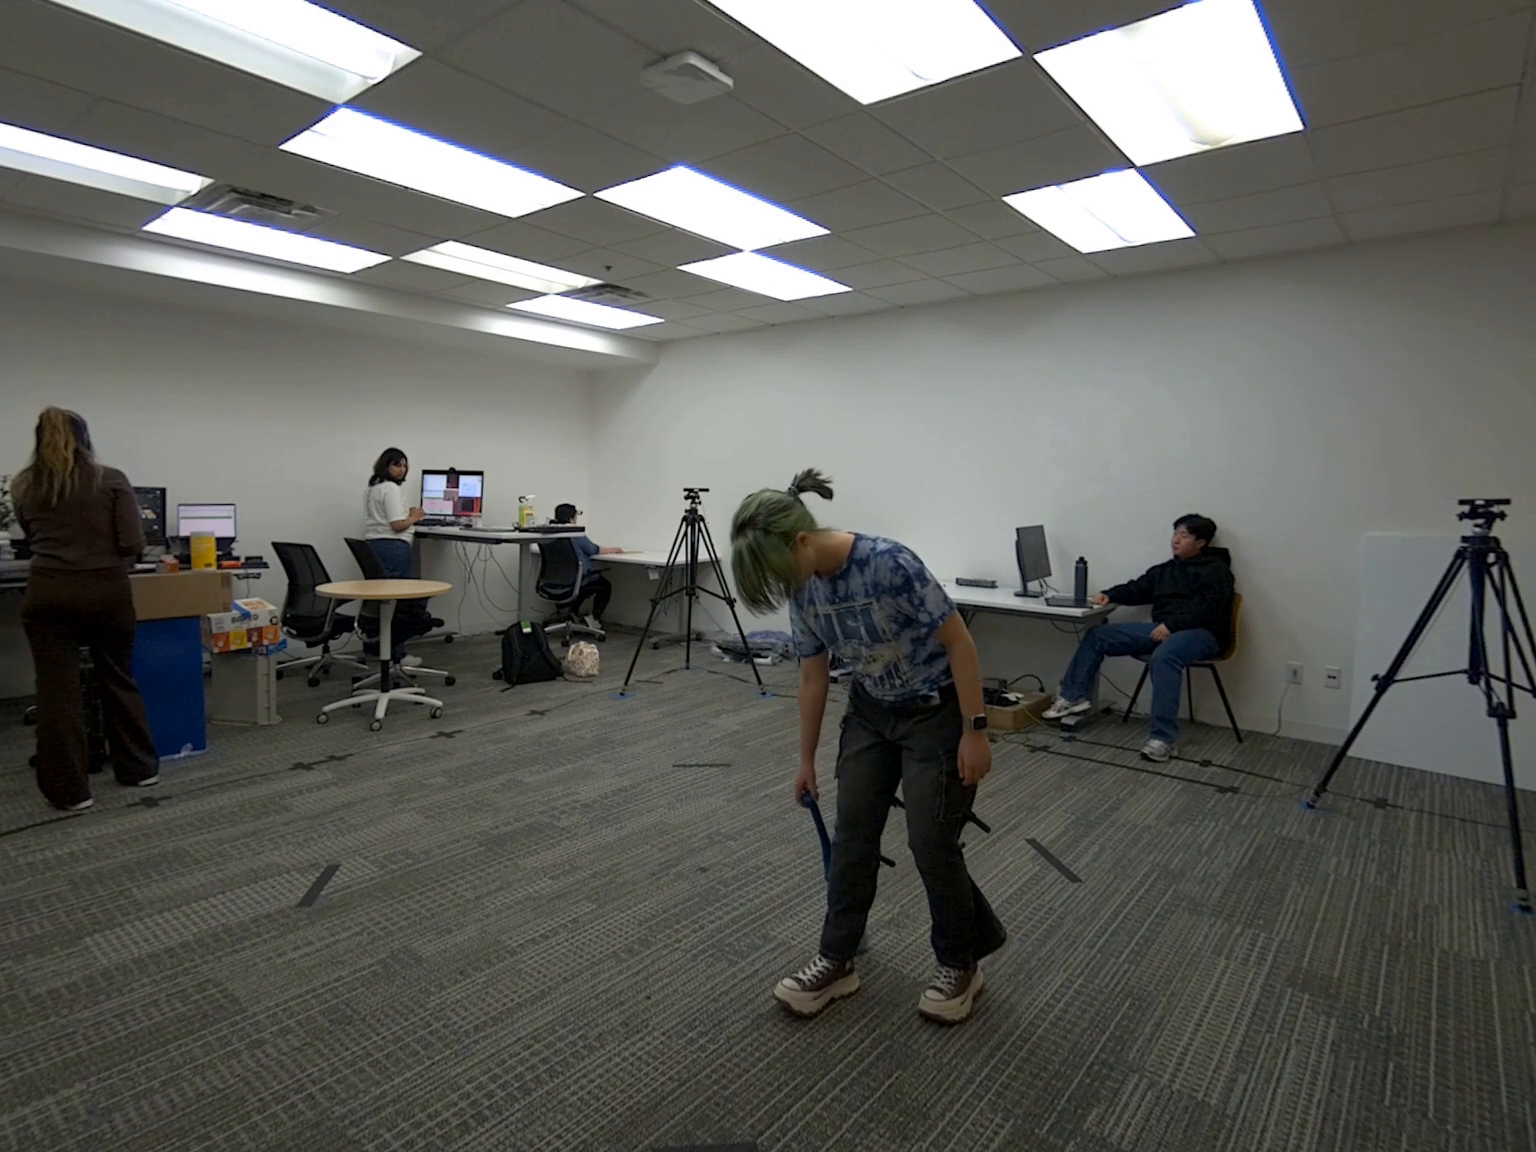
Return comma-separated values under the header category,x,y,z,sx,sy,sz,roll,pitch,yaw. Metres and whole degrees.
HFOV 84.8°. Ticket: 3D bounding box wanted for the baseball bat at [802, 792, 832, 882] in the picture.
category,x,y,z,sx,sy,sz,roll,pitch,yaw
baseball bat,0.187,0.875,2.529,0.089,0.533,0.090,-16,15,3
